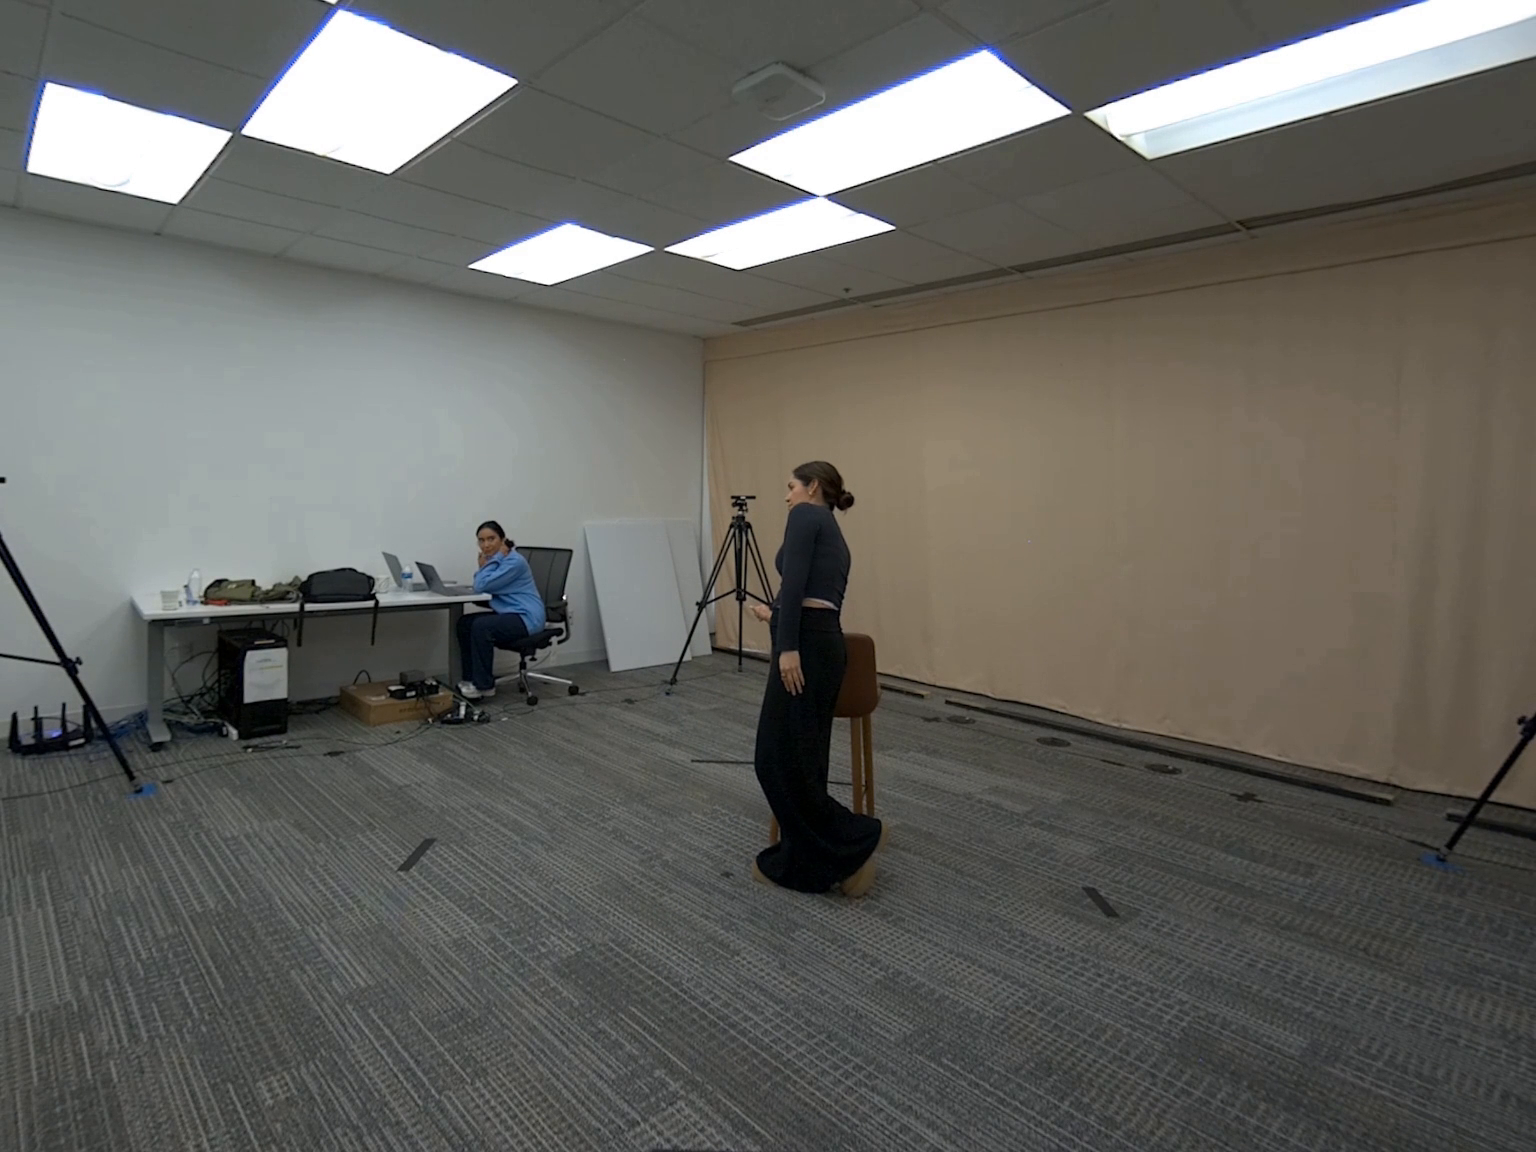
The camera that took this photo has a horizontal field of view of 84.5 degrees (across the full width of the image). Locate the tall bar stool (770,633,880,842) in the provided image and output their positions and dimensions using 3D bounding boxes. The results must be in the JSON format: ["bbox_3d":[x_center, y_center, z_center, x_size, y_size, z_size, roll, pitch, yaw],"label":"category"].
[{"bbox_3d":[0.239,0.639,3.542,0.461,0.886,0.464,2,5,13],"label":"tall bar stool"}]
